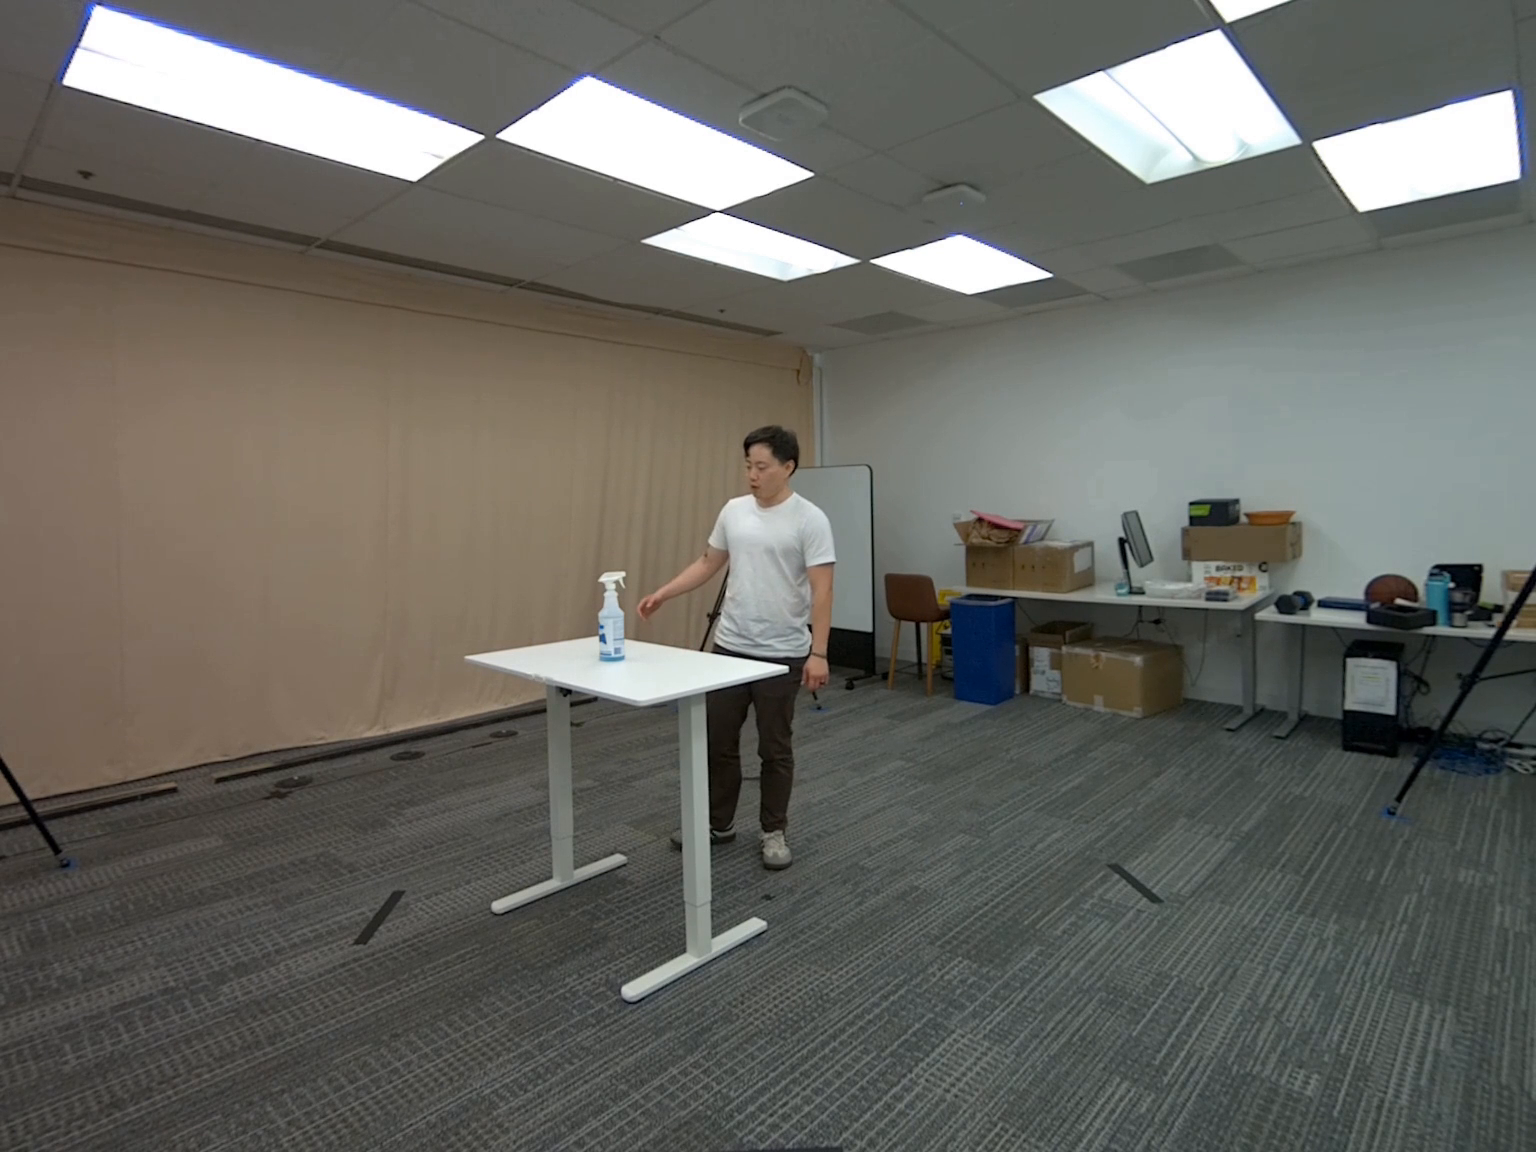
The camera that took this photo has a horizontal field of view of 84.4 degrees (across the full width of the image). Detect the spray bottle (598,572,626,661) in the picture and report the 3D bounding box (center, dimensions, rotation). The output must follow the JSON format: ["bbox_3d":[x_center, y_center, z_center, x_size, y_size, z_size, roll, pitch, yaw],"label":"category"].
[{"bbox_3d":[-0.523,0.136,2.838,0.092,0.296,0.085,3,6,24],"label":"spray bottle"}]
